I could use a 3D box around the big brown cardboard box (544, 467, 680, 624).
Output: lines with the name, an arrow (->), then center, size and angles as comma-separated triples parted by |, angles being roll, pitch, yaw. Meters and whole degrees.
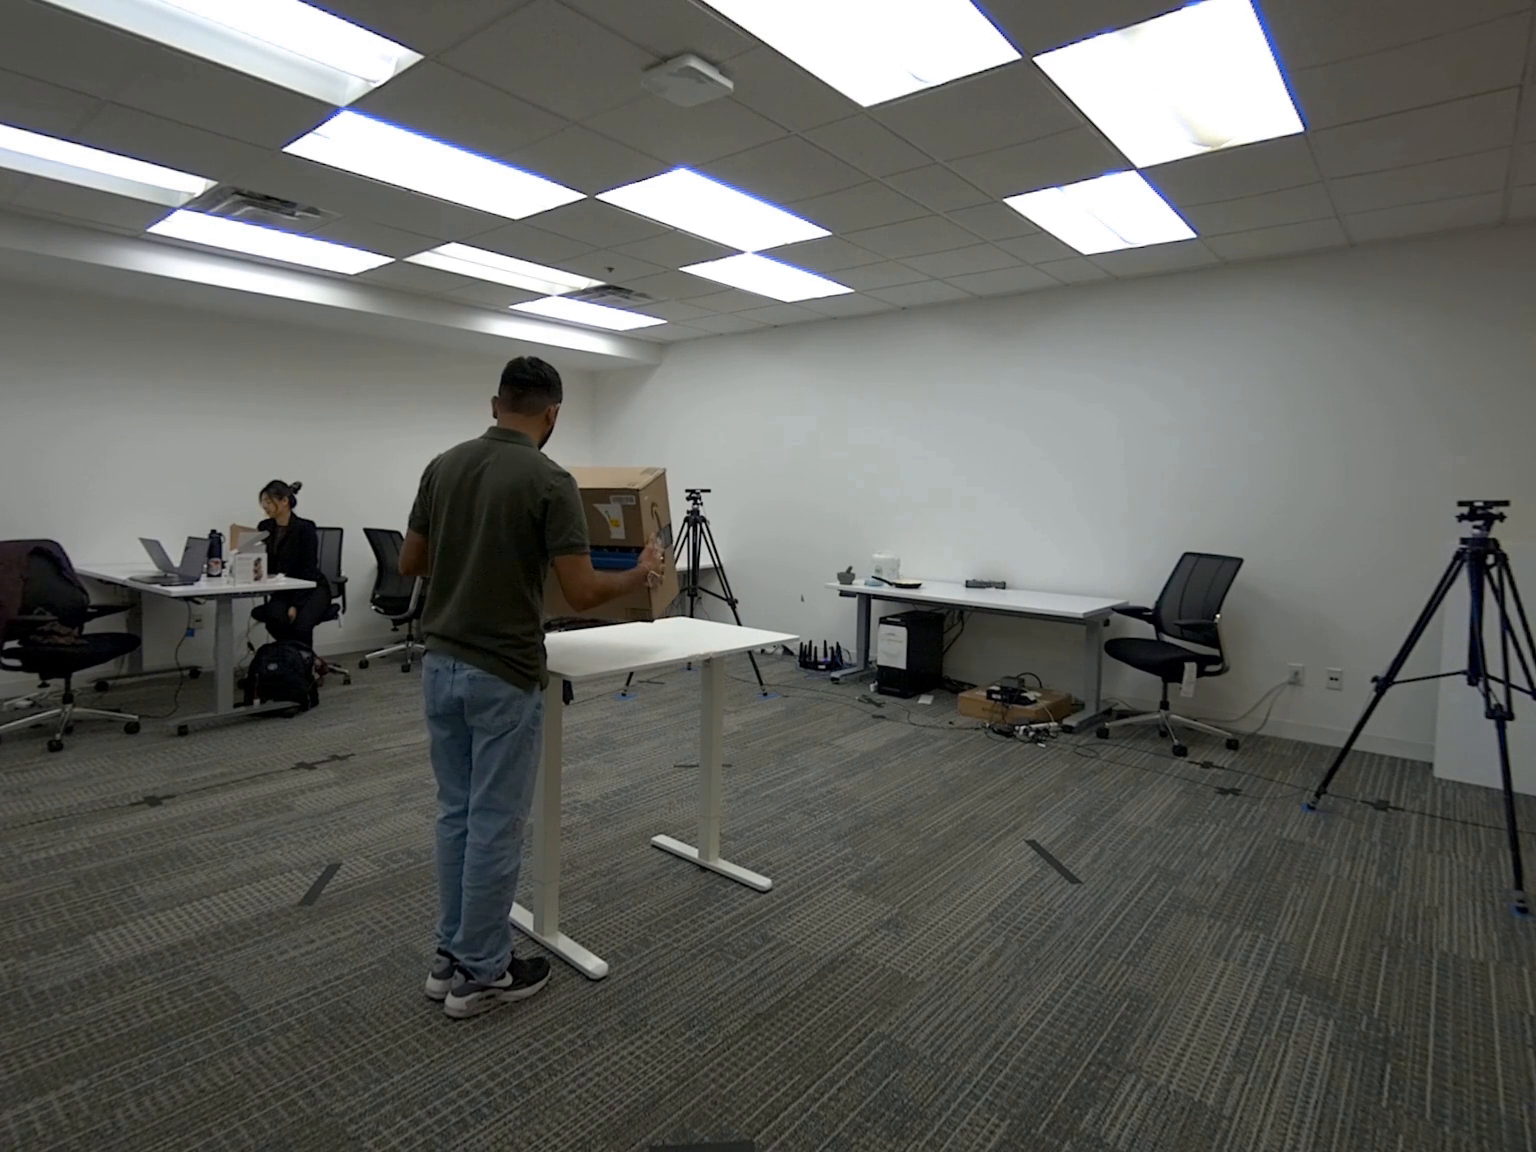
big brown cardboard box -> -0.601, -0.107, 2.612 | 0.601, 0.409, 0.233 | 3, 21, 19
